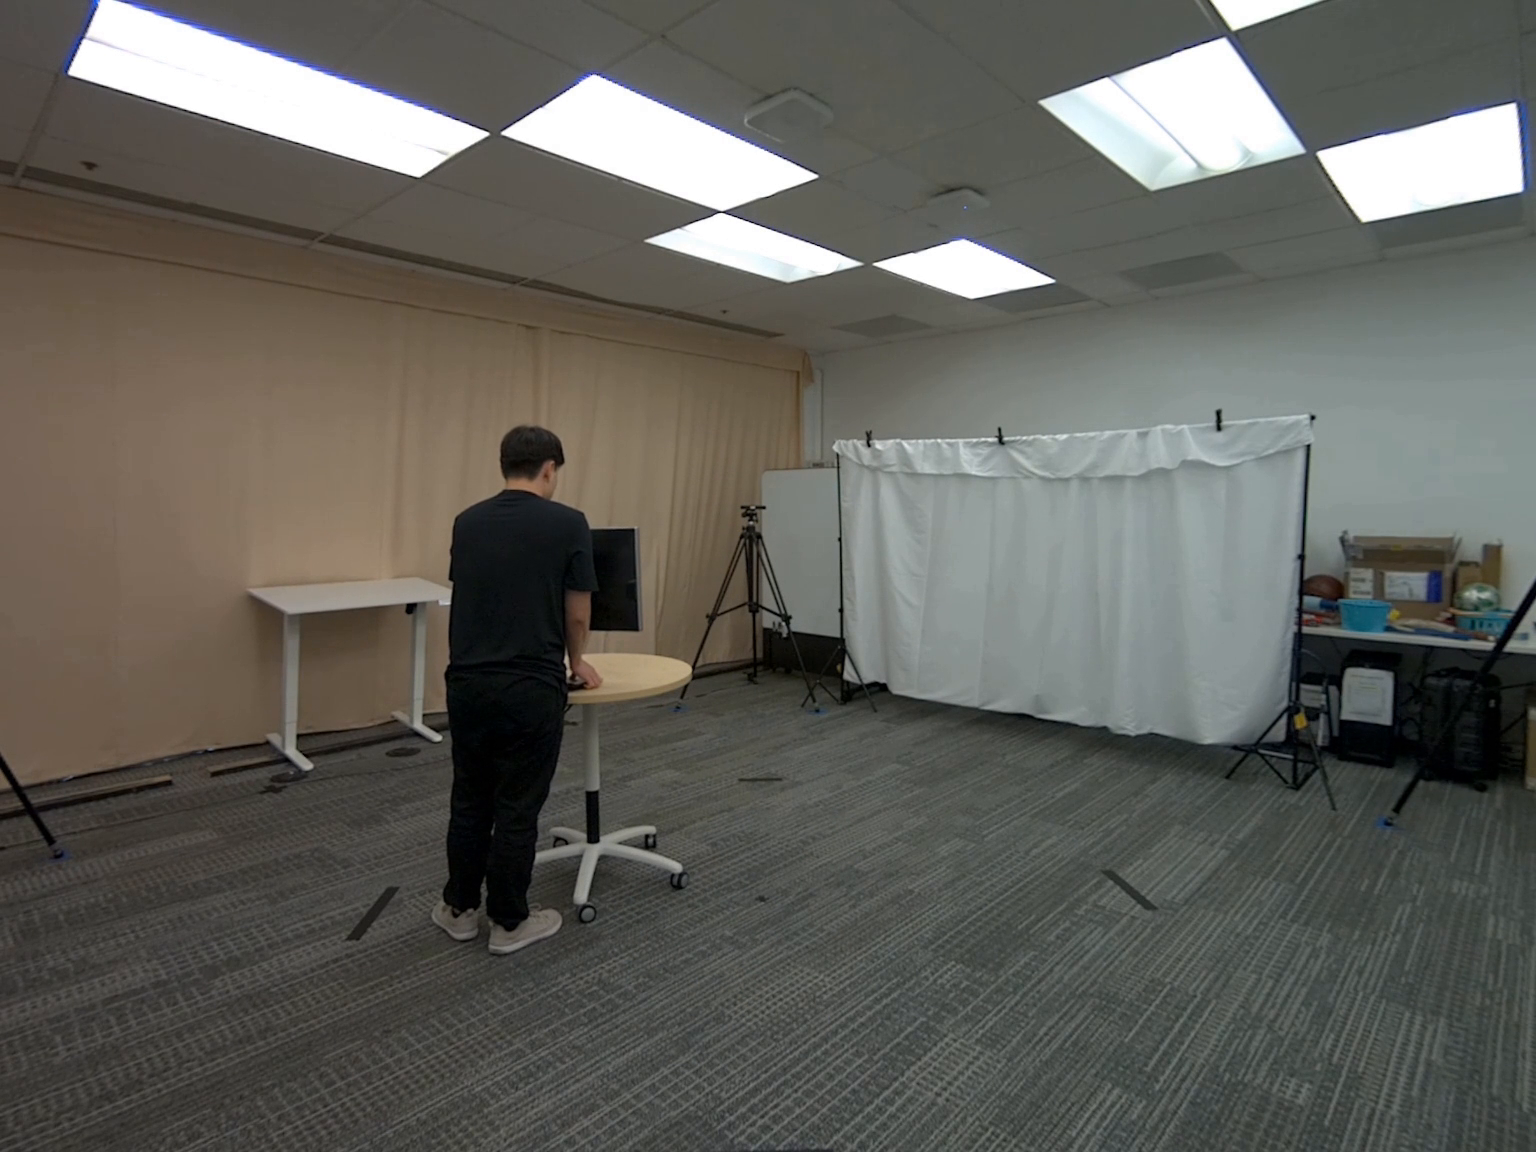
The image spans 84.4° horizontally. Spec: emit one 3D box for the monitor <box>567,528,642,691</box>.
[{"bbox_3d":[-0.718,0.099,2.919,0.548,0.524,0.183,0,-4,16],"label":"monitor"}]
